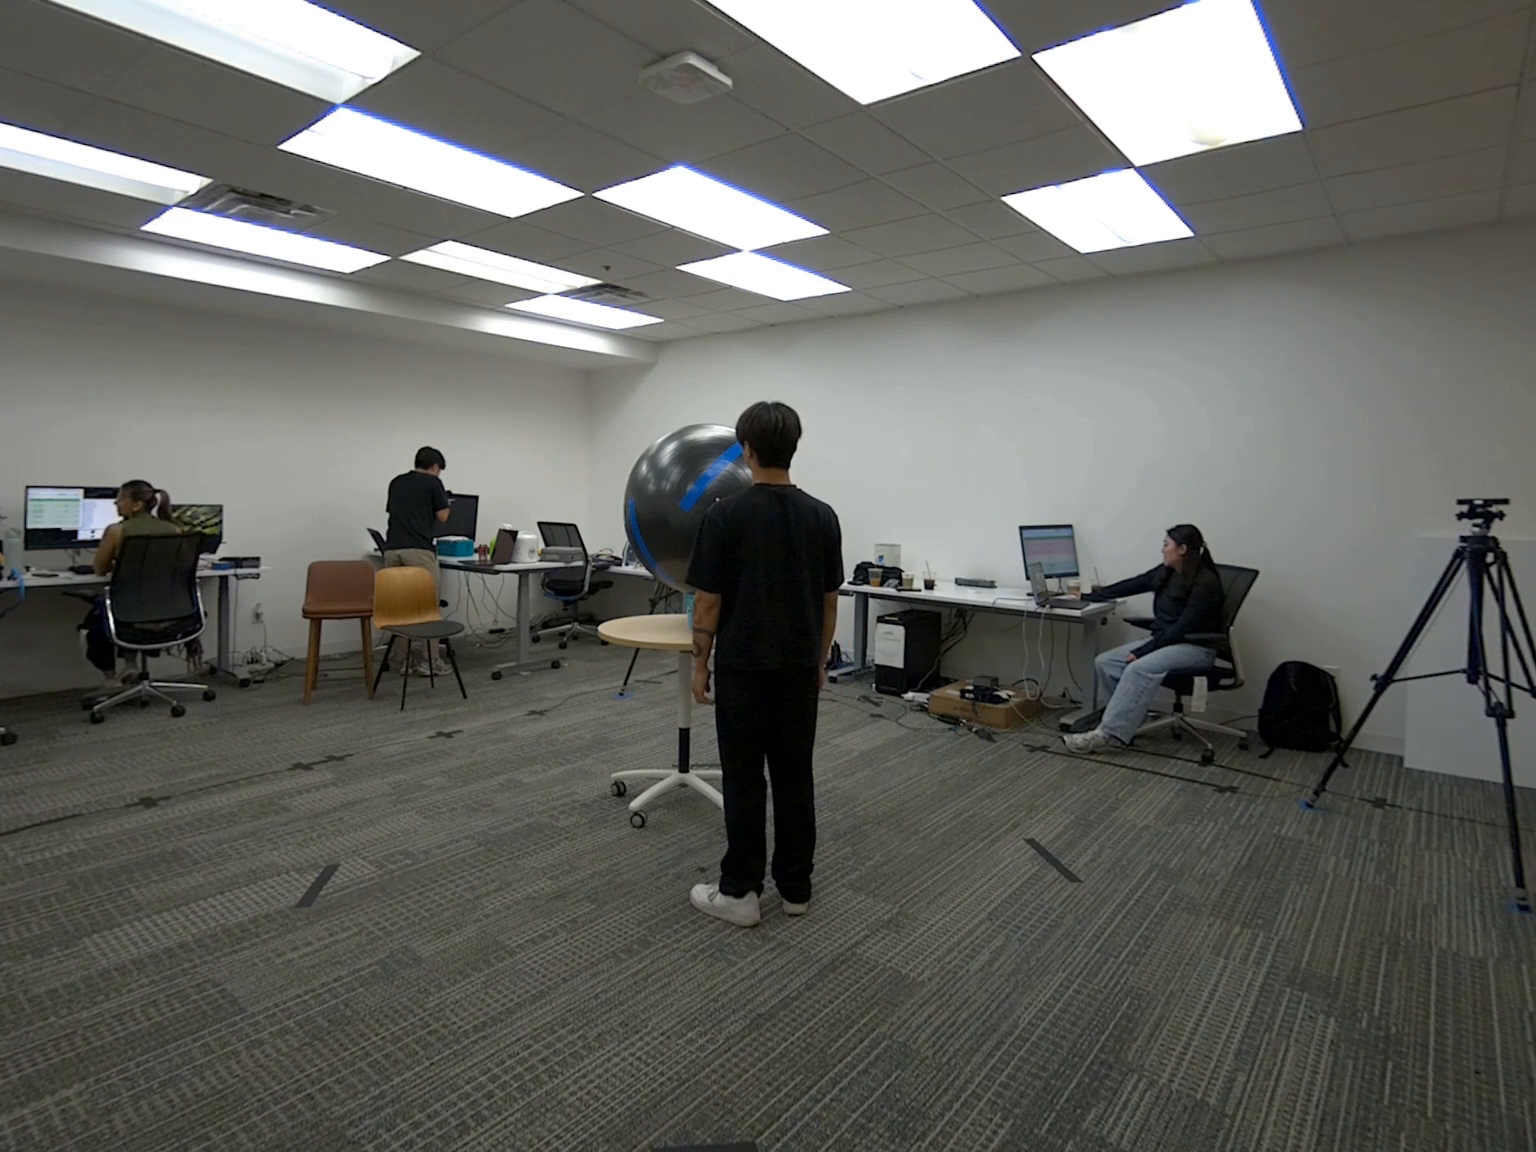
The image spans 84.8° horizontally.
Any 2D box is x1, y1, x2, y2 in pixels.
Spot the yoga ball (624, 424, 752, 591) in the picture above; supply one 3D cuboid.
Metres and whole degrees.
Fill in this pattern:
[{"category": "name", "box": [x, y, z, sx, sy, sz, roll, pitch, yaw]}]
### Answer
[{"category": "yoga ball", "box": [-0.273, -0.291, 3.762, 0.757, 0.755, 0.762, 1, 4, -2]}]
